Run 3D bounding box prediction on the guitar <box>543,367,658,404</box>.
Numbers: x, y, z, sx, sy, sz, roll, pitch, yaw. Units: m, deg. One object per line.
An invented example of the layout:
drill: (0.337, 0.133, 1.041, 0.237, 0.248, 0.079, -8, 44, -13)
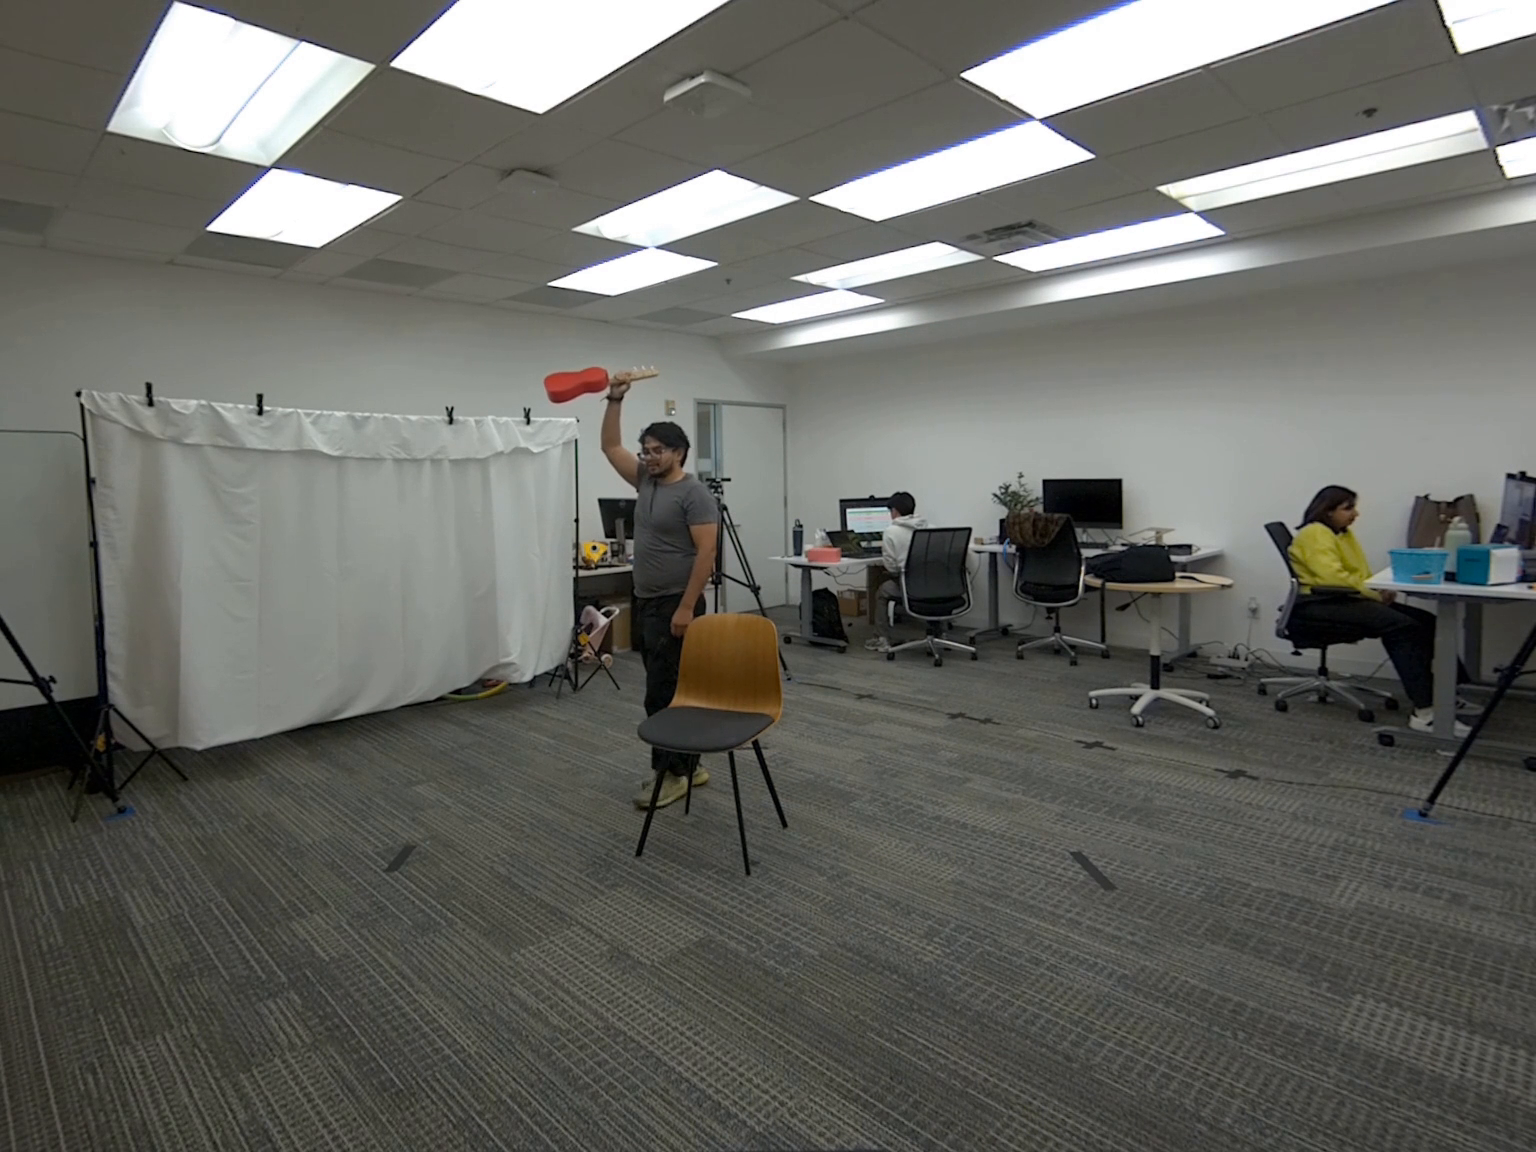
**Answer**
guitar: (-0.732, -0.874, 3.757, 0.493, 0.069, 0.201, -21, 39, -17)
